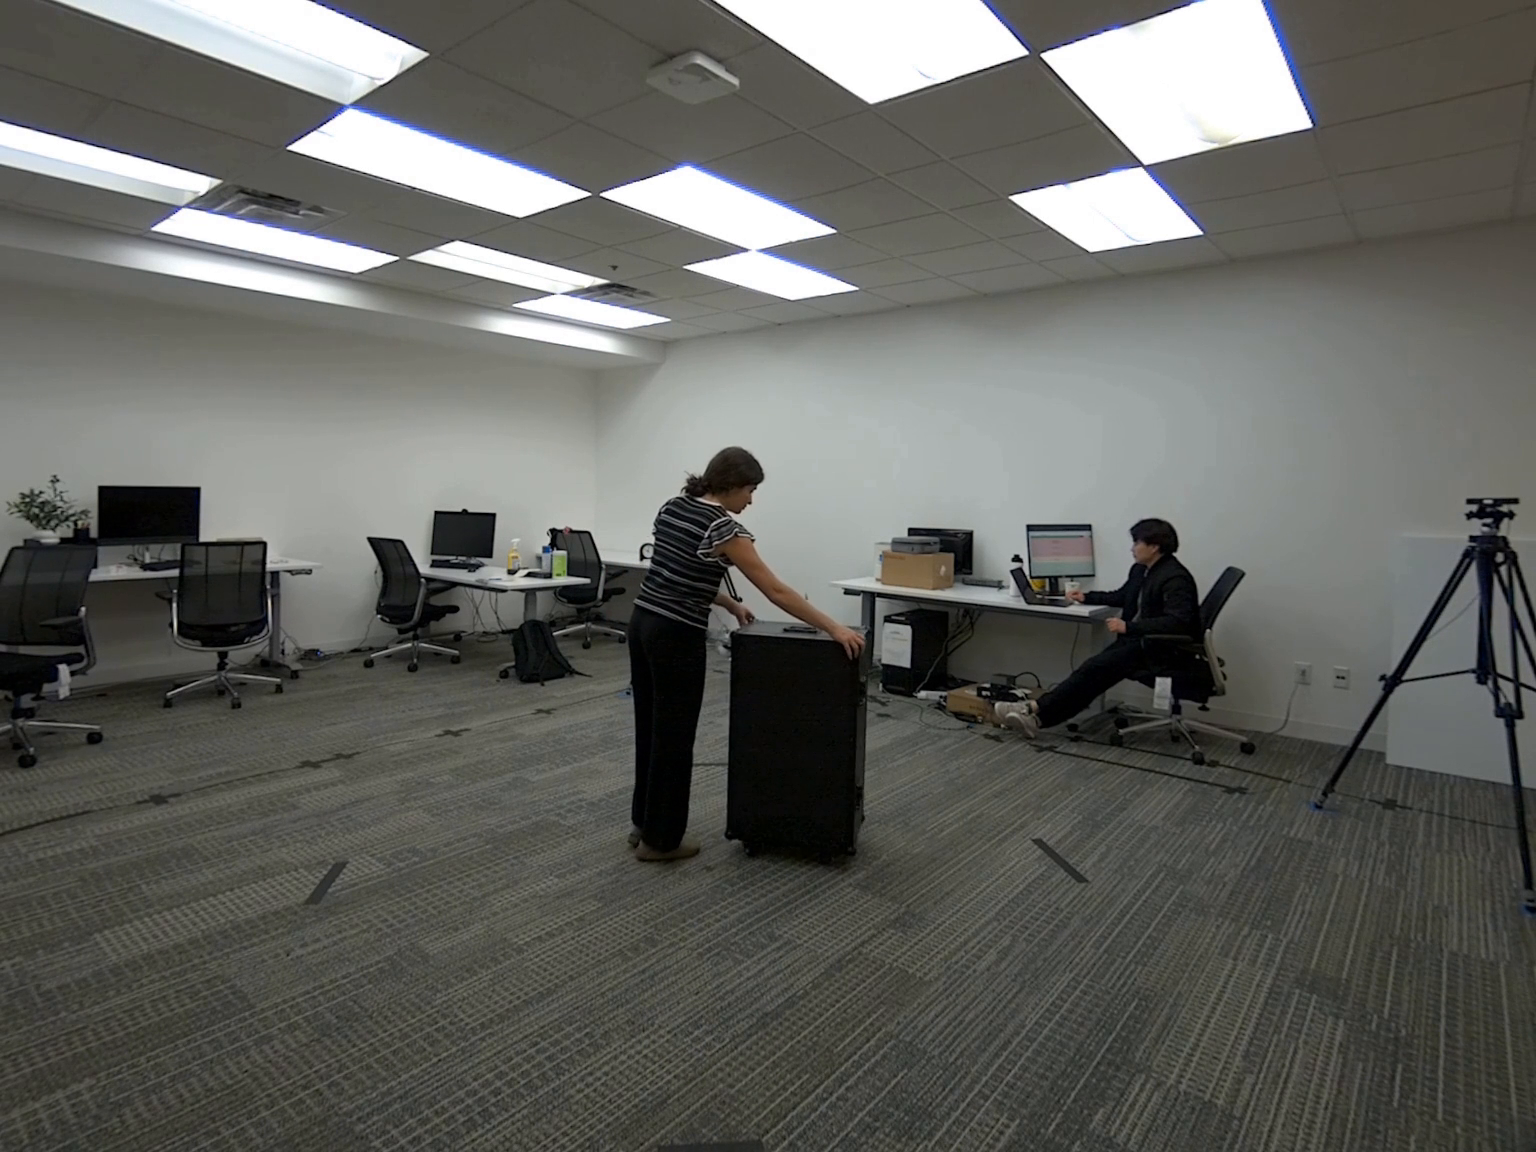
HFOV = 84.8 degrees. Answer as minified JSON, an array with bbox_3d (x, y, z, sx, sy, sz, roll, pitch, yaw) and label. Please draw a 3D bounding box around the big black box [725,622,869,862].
[{"bbox_3d":[0.109,0.633,3.303,0.531,0.859,0.390,3,3,16],"label":"big black box"}]
